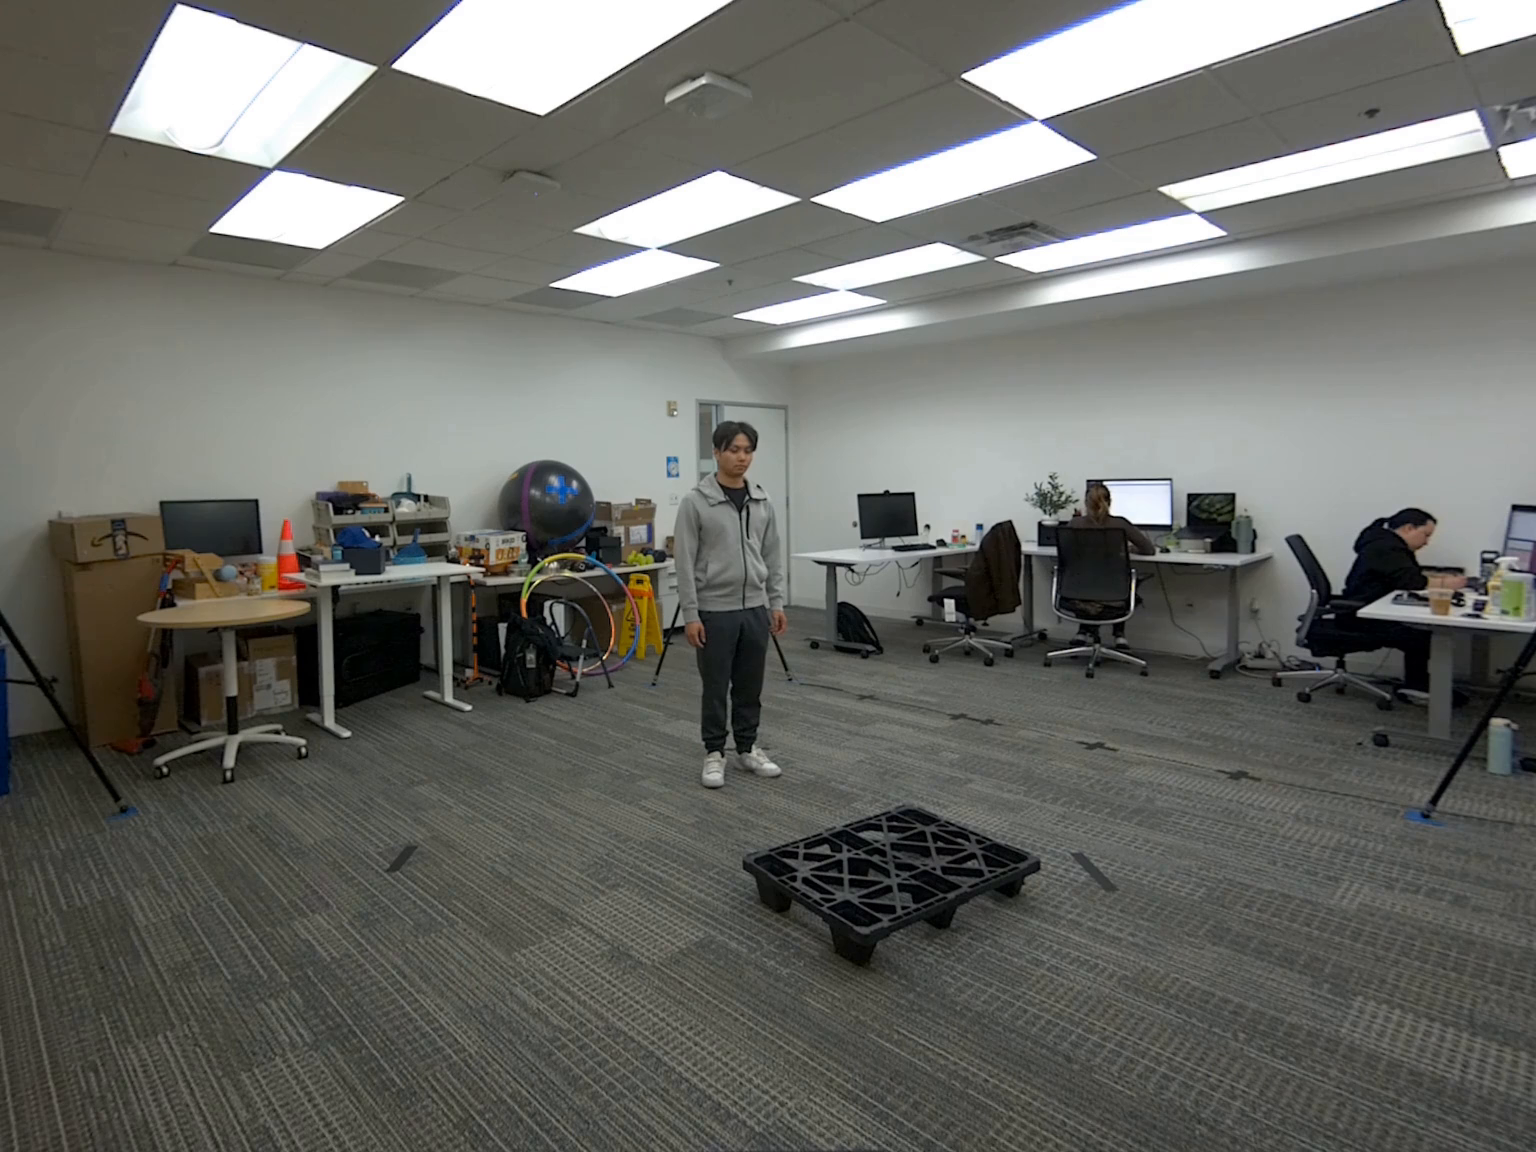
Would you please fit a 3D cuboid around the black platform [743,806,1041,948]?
[{"bbox_3d":[0.409,1.005,2.832,0.785,0.143,0.623,-6,8,-36],"label":"black platform"}]
